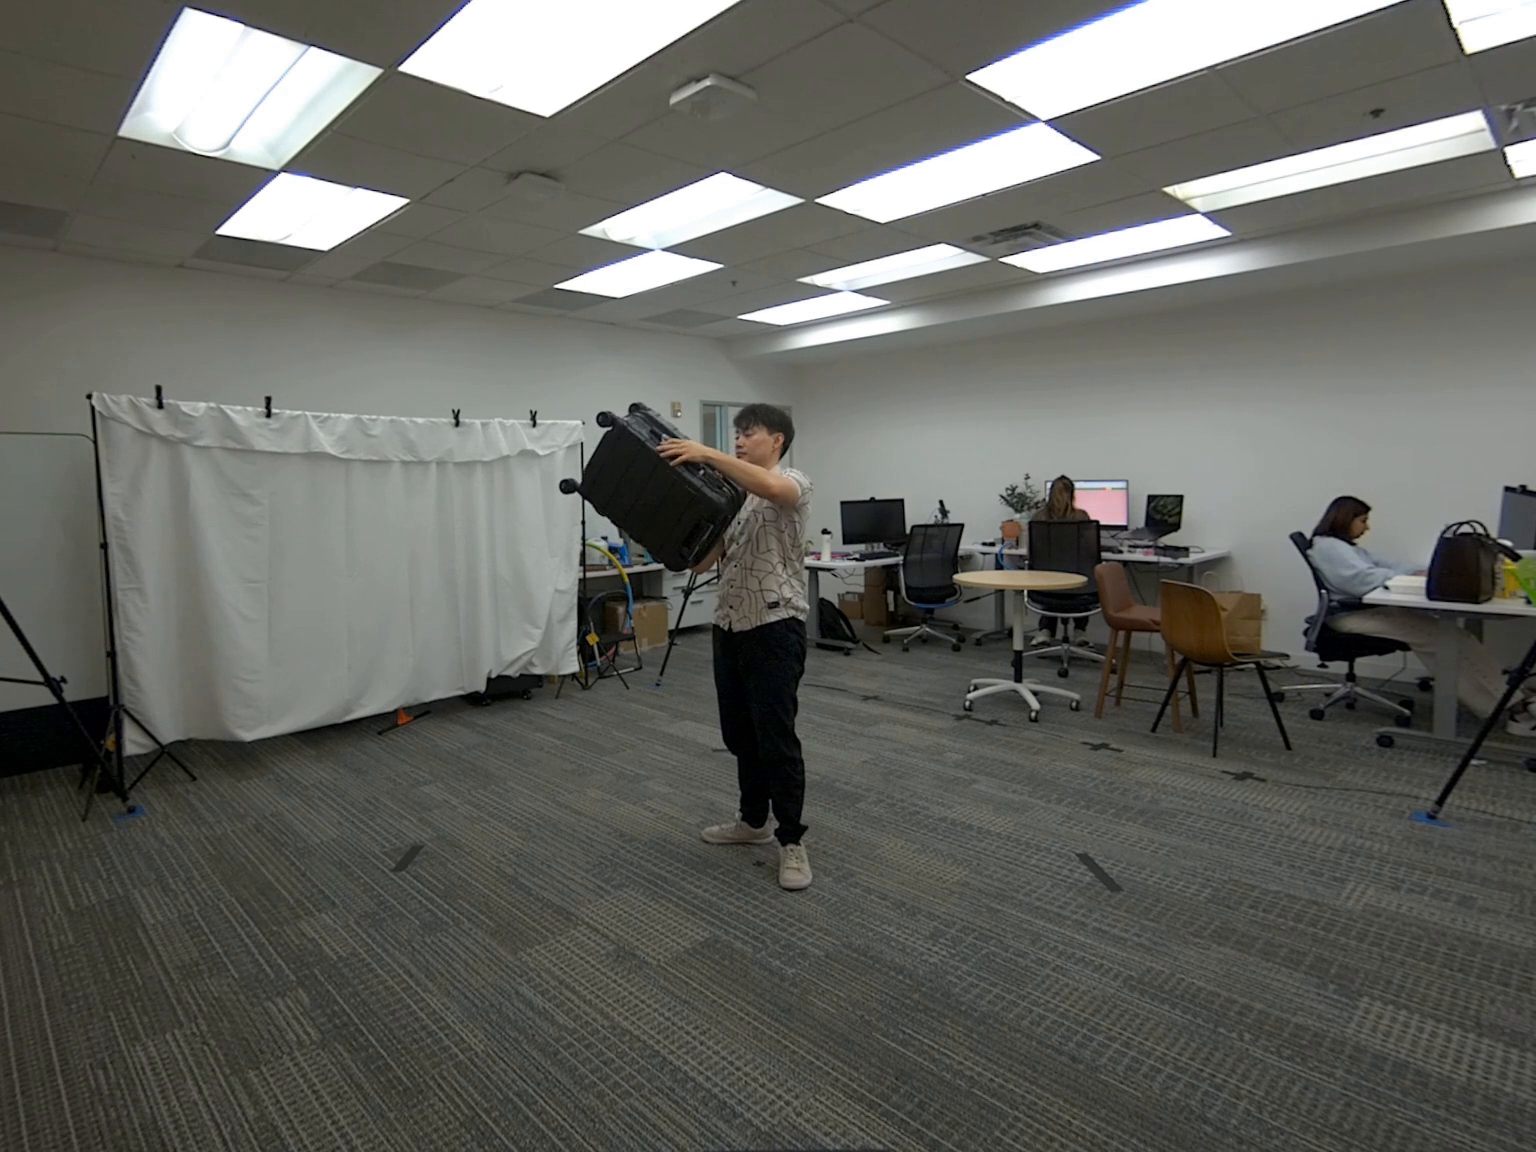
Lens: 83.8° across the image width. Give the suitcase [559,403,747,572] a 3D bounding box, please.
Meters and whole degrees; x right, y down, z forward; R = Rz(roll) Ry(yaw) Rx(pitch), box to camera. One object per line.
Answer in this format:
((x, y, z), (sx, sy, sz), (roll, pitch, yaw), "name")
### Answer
((-0.374, -0.299, 2.911), (0.558, 0.373, 0.246), (39, 28, 11), "suitcase")
